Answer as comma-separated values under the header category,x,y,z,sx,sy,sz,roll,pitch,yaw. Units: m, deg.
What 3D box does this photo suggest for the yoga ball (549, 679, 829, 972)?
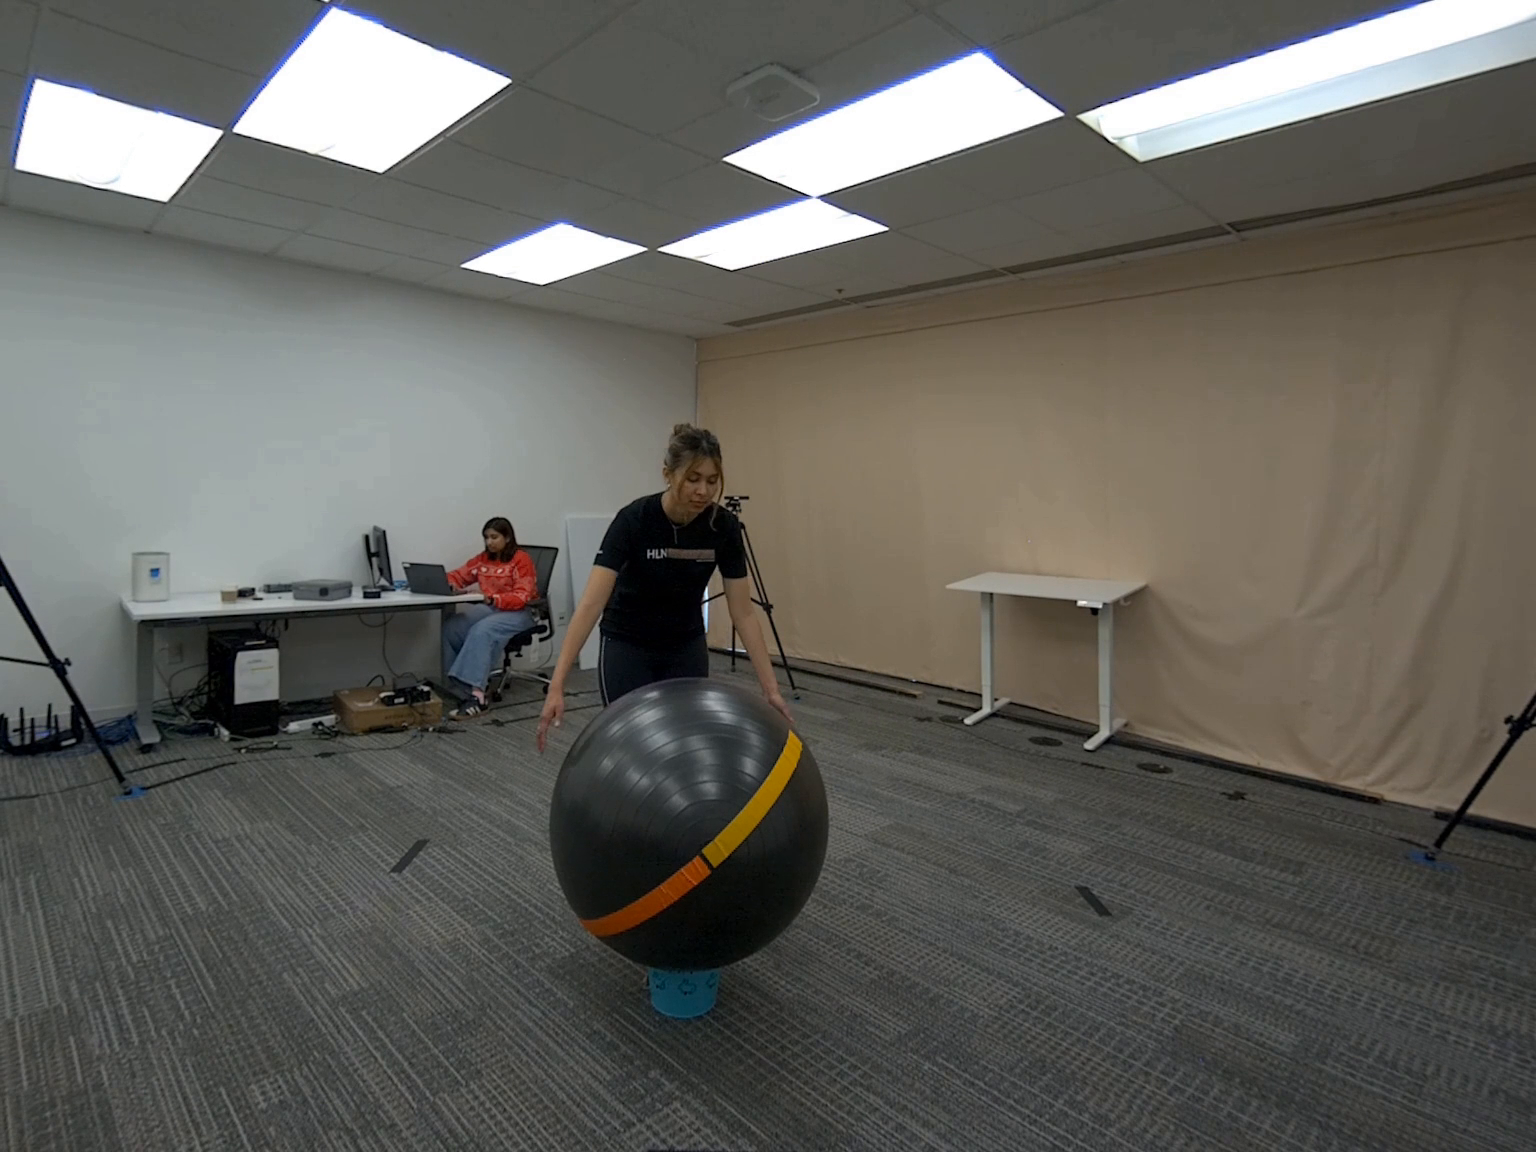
category,x,y,z,sx,sy,sz,roll,pitch,yaw
yoga ball,-0.214,0.670,2.295,0.757,0.756,0.761,1,4,-1
